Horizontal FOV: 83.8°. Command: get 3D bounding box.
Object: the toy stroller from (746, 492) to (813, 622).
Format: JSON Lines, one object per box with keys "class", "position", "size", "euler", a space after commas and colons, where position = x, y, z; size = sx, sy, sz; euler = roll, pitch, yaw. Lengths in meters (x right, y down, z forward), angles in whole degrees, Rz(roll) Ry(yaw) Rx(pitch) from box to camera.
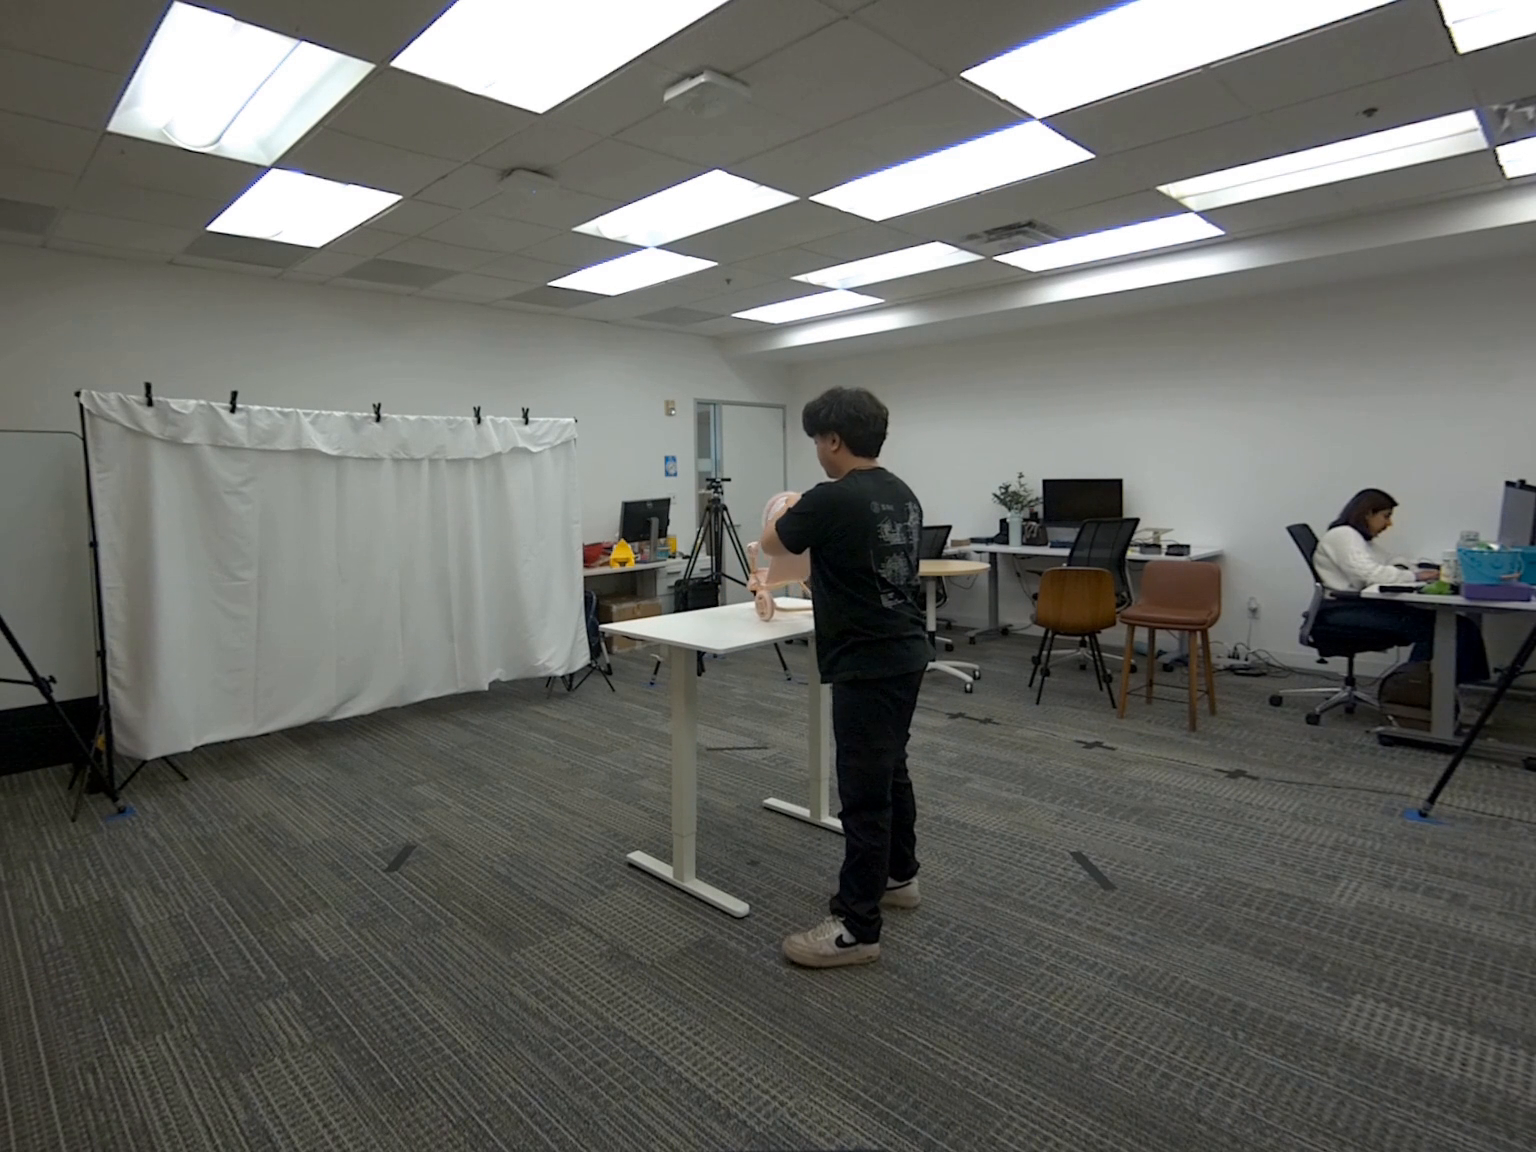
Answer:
{"class": "toy stroller", "position": [0.066, -0.073, 3.176], "size": [0.276, 0.527, 0.353], "euler": [-2, 20, -22]}
